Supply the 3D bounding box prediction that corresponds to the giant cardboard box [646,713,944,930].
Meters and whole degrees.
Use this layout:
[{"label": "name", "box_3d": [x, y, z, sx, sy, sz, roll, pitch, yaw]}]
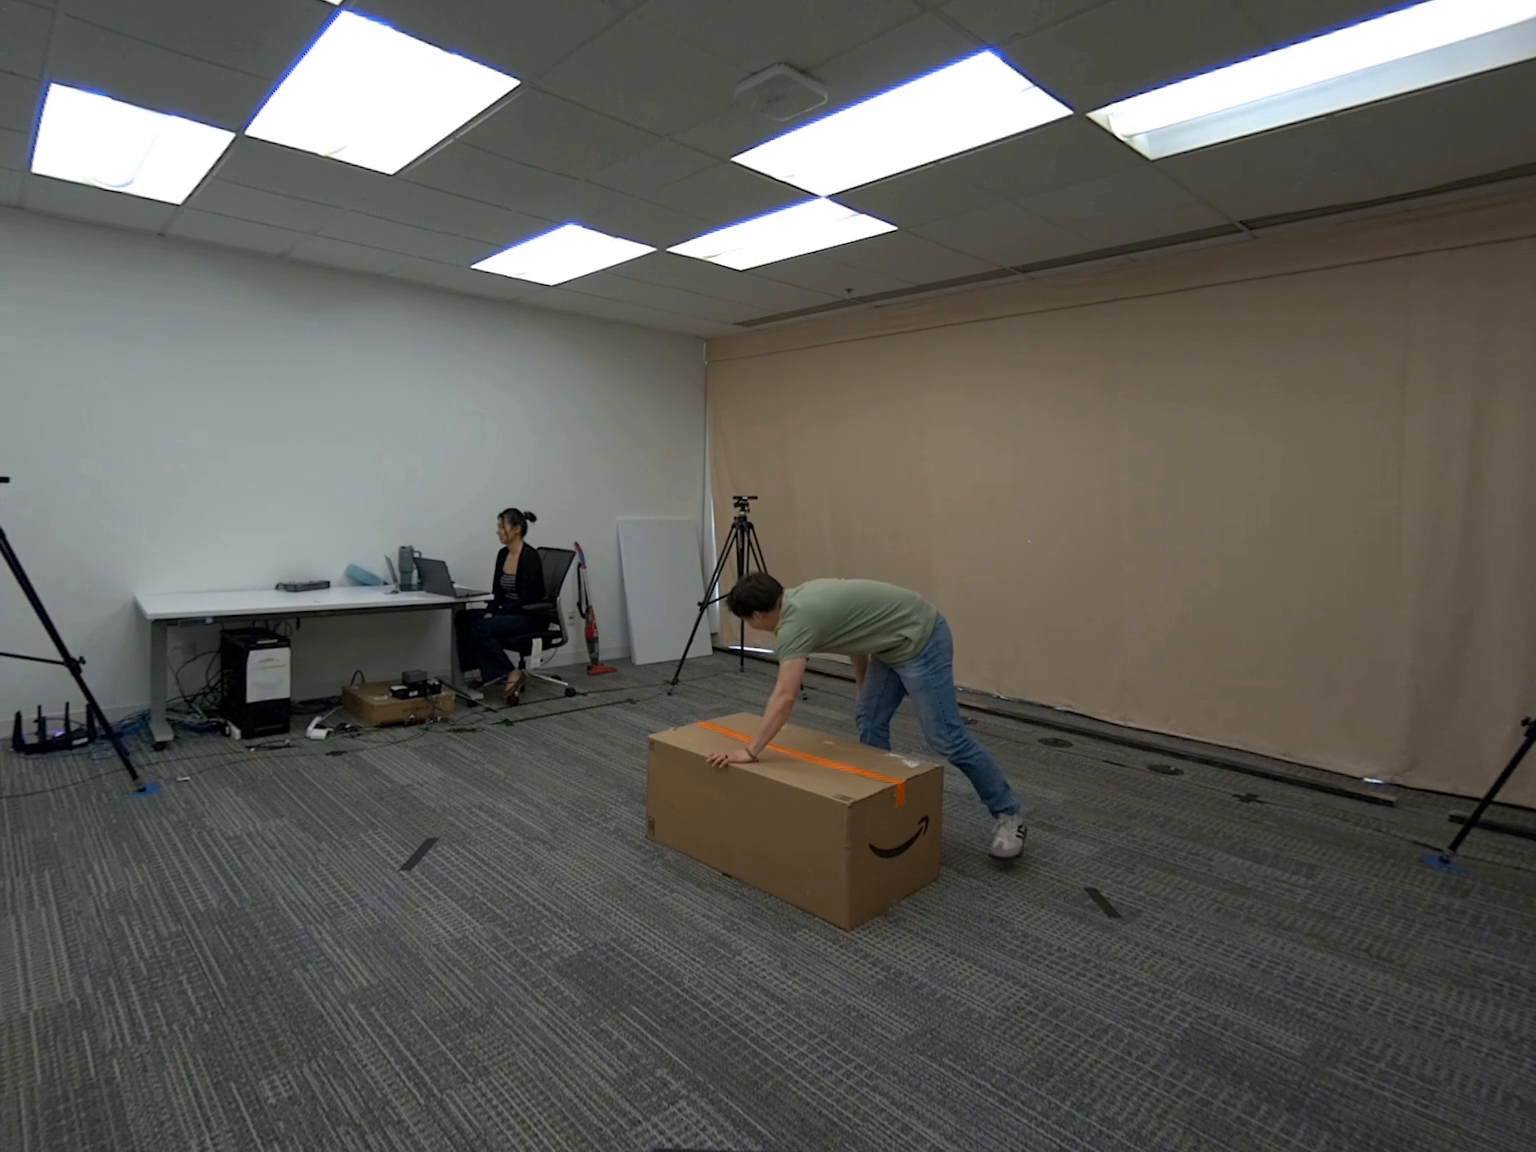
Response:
[{"label": "giant cardboard box", "box_3d": [0.066, 0.882, 3.255, 1.052, 0.425, 0.564, 6, 6, 44]}]
